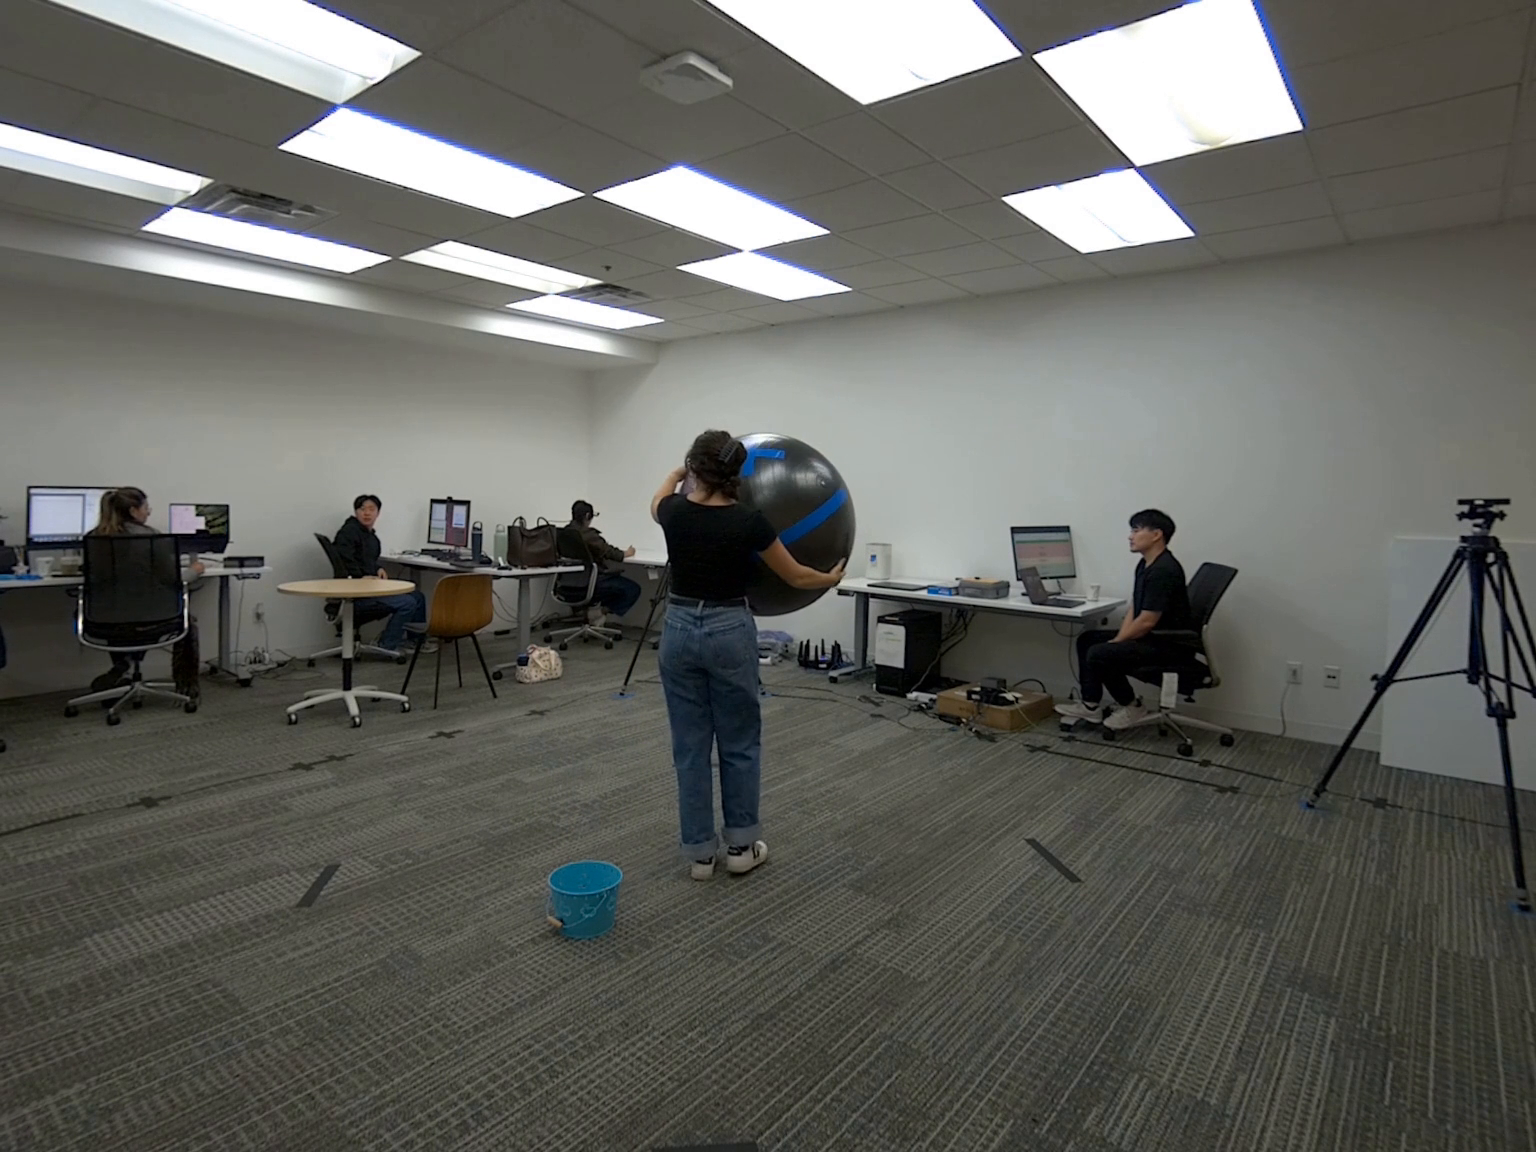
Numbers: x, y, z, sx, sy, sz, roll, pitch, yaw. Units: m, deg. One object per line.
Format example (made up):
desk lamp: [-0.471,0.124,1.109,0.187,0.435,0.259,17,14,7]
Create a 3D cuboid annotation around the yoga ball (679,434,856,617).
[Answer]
yoga ball: [-0.023,-0.215,3.549,0.757,0.755,0.762,1,4,-2]
